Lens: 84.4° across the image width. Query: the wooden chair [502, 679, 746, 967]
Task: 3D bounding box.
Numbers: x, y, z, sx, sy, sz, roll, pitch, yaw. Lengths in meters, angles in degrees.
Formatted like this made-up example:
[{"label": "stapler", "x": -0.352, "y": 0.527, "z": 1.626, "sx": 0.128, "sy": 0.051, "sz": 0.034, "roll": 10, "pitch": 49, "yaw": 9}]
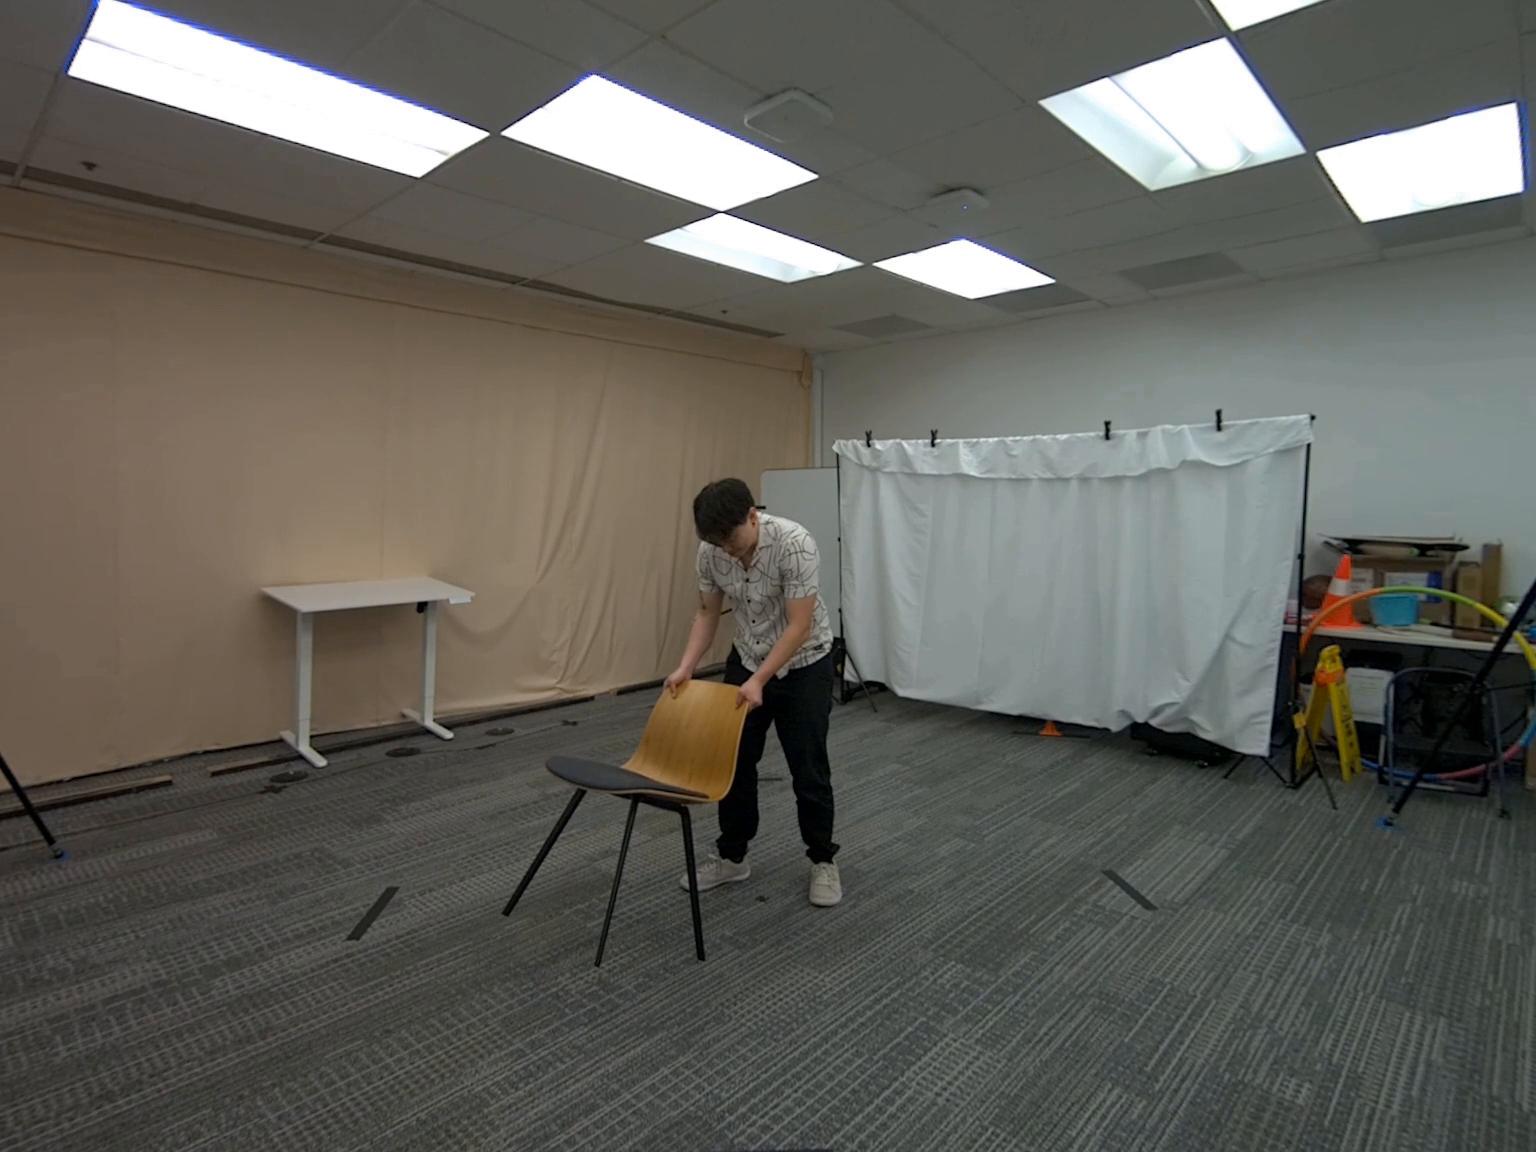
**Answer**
[{"label": "wooden chair", "x": -0.413, "y": 0.695, "z": 2.641, "sx": 0.494, "sy": 0.881, "sz": 0.504, "roll": 2, "pitch": -20, "yaw": 41}]
